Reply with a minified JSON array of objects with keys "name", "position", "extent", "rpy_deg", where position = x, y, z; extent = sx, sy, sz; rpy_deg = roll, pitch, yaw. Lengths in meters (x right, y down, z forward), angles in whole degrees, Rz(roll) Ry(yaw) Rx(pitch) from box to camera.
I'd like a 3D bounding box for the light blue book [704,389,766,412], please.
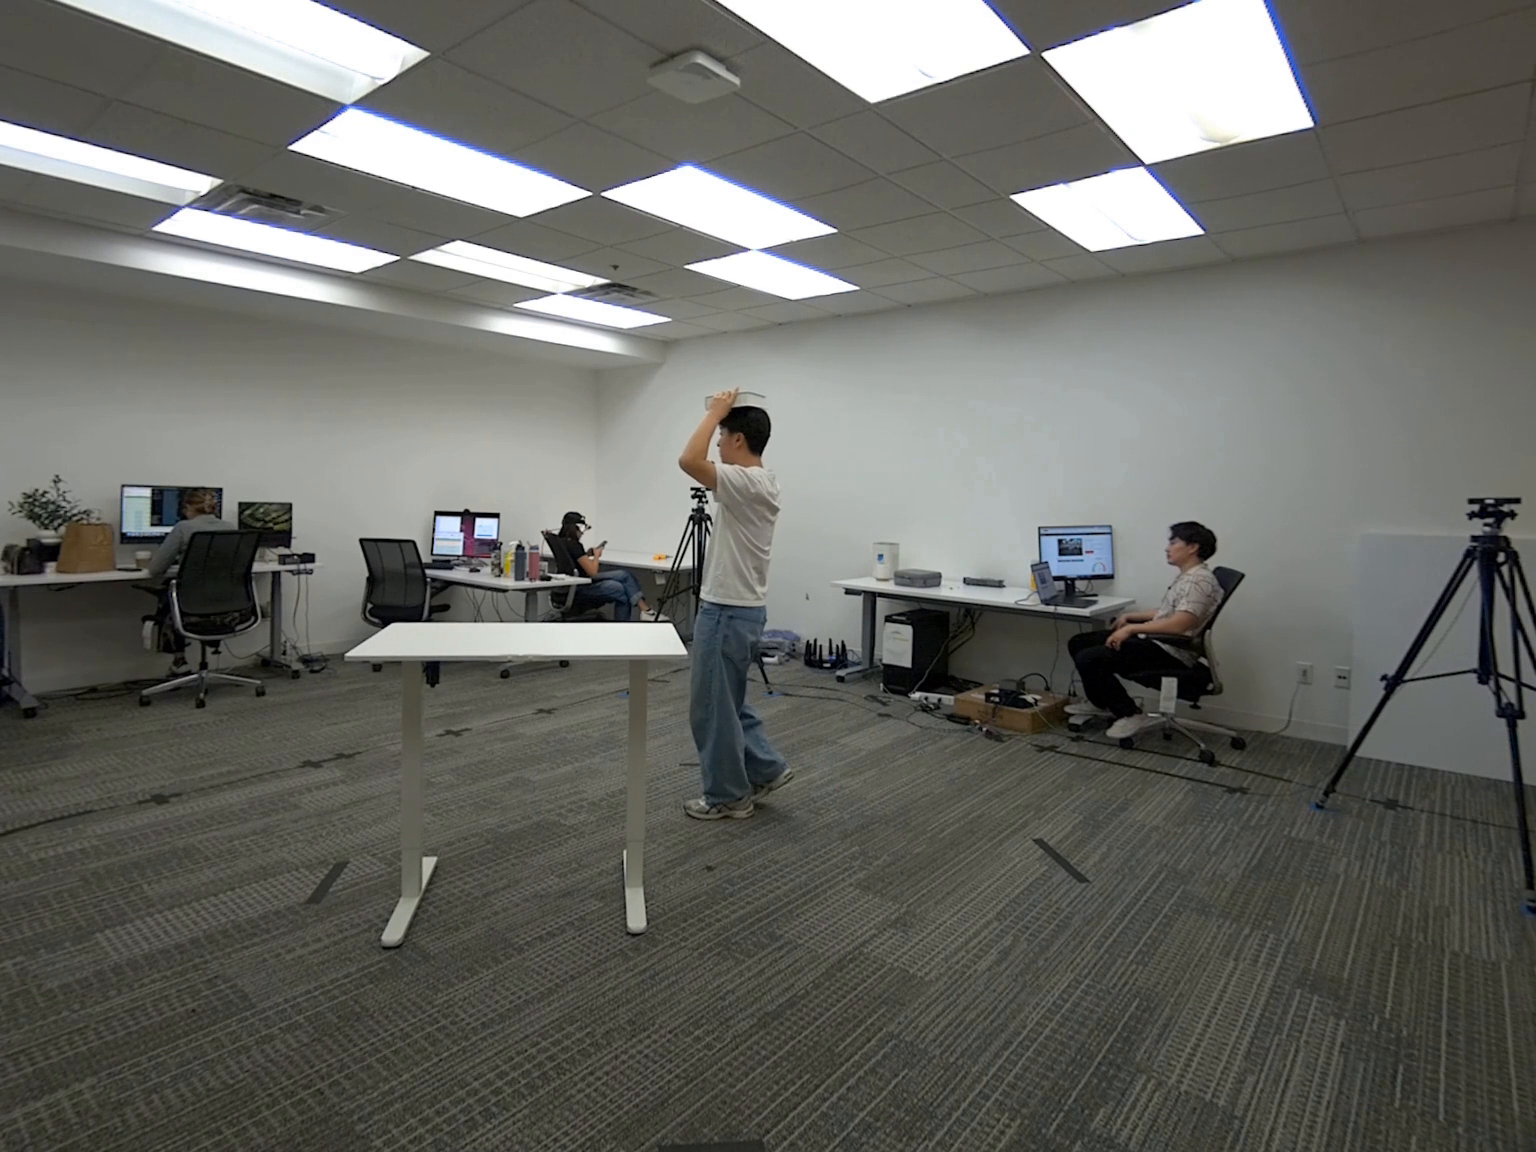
[{"name":"light blue book","position":[-0.140,-0.725,3.545],"extent":[0.194,0.059,0.258],"rpy_deg":[-3,7,15]}]
